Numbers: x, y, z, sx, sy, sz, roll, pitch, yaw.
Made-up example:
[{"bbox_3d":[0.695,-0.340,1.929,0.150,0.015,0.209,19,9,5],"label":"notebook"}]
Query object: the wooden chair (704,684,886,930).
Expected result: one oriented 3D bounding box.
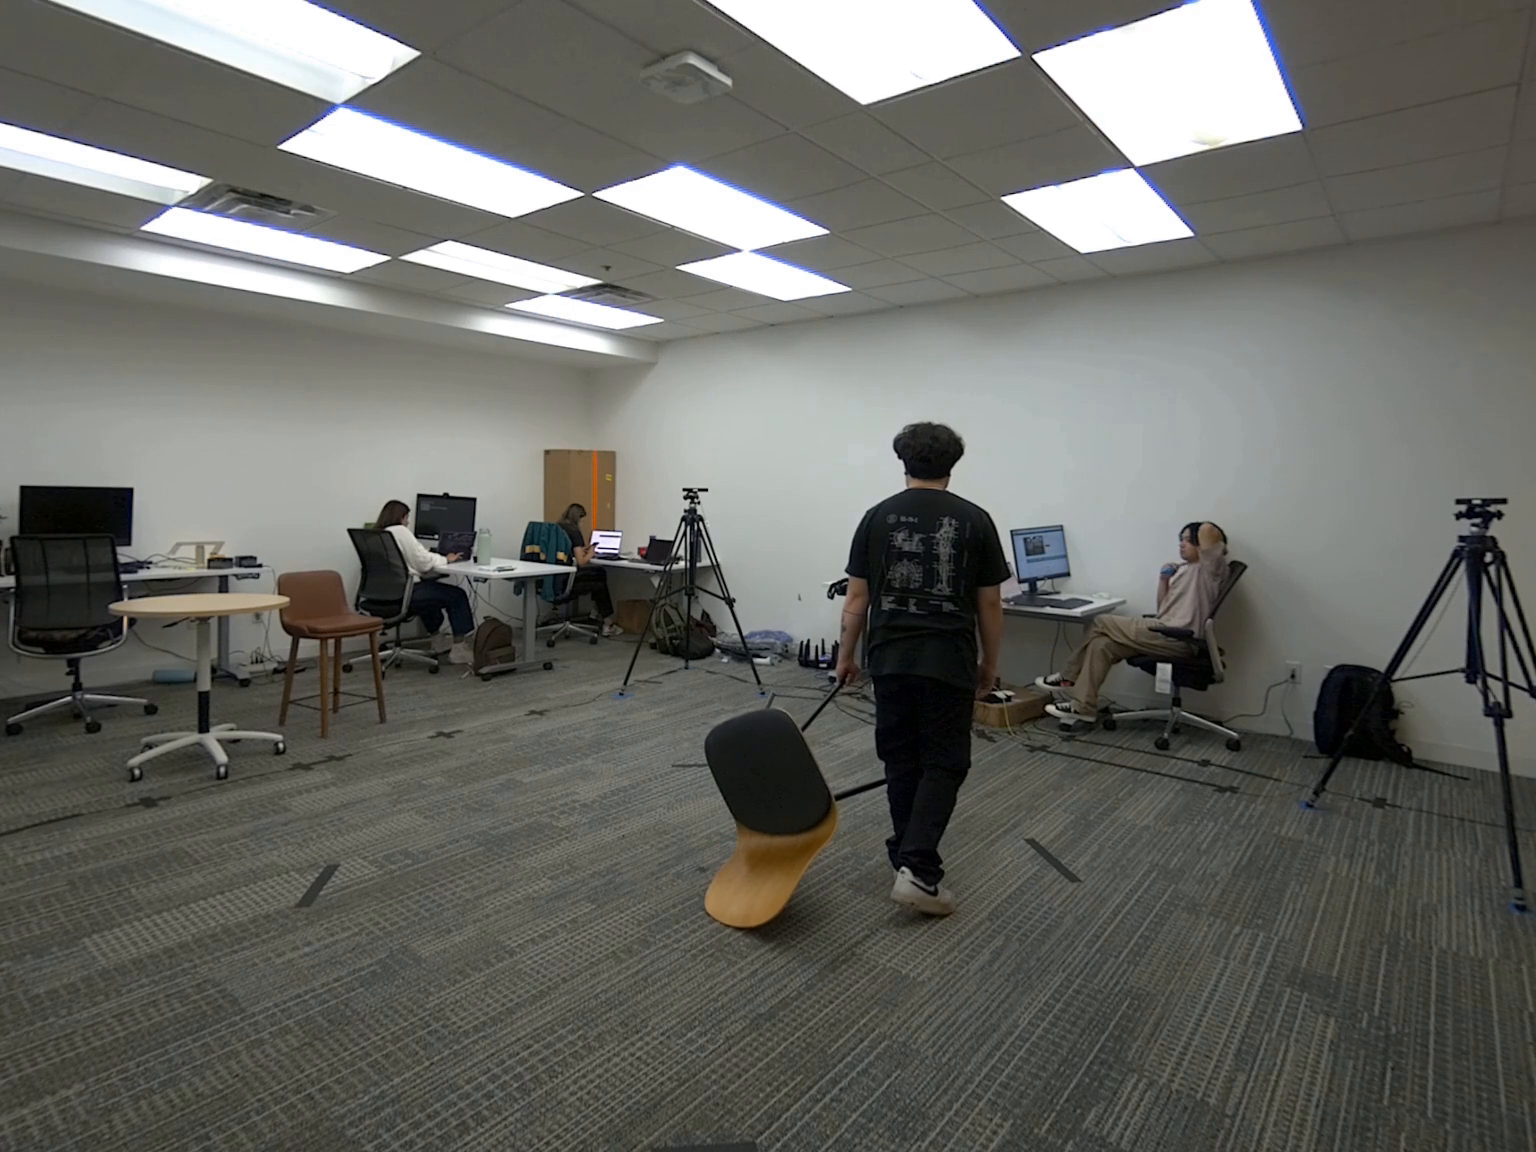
[{"bbox_3d":[0.026,0.720,2.987,0.485,0.522,0.866,-26,4,38],"label":"wooden chair"}]
